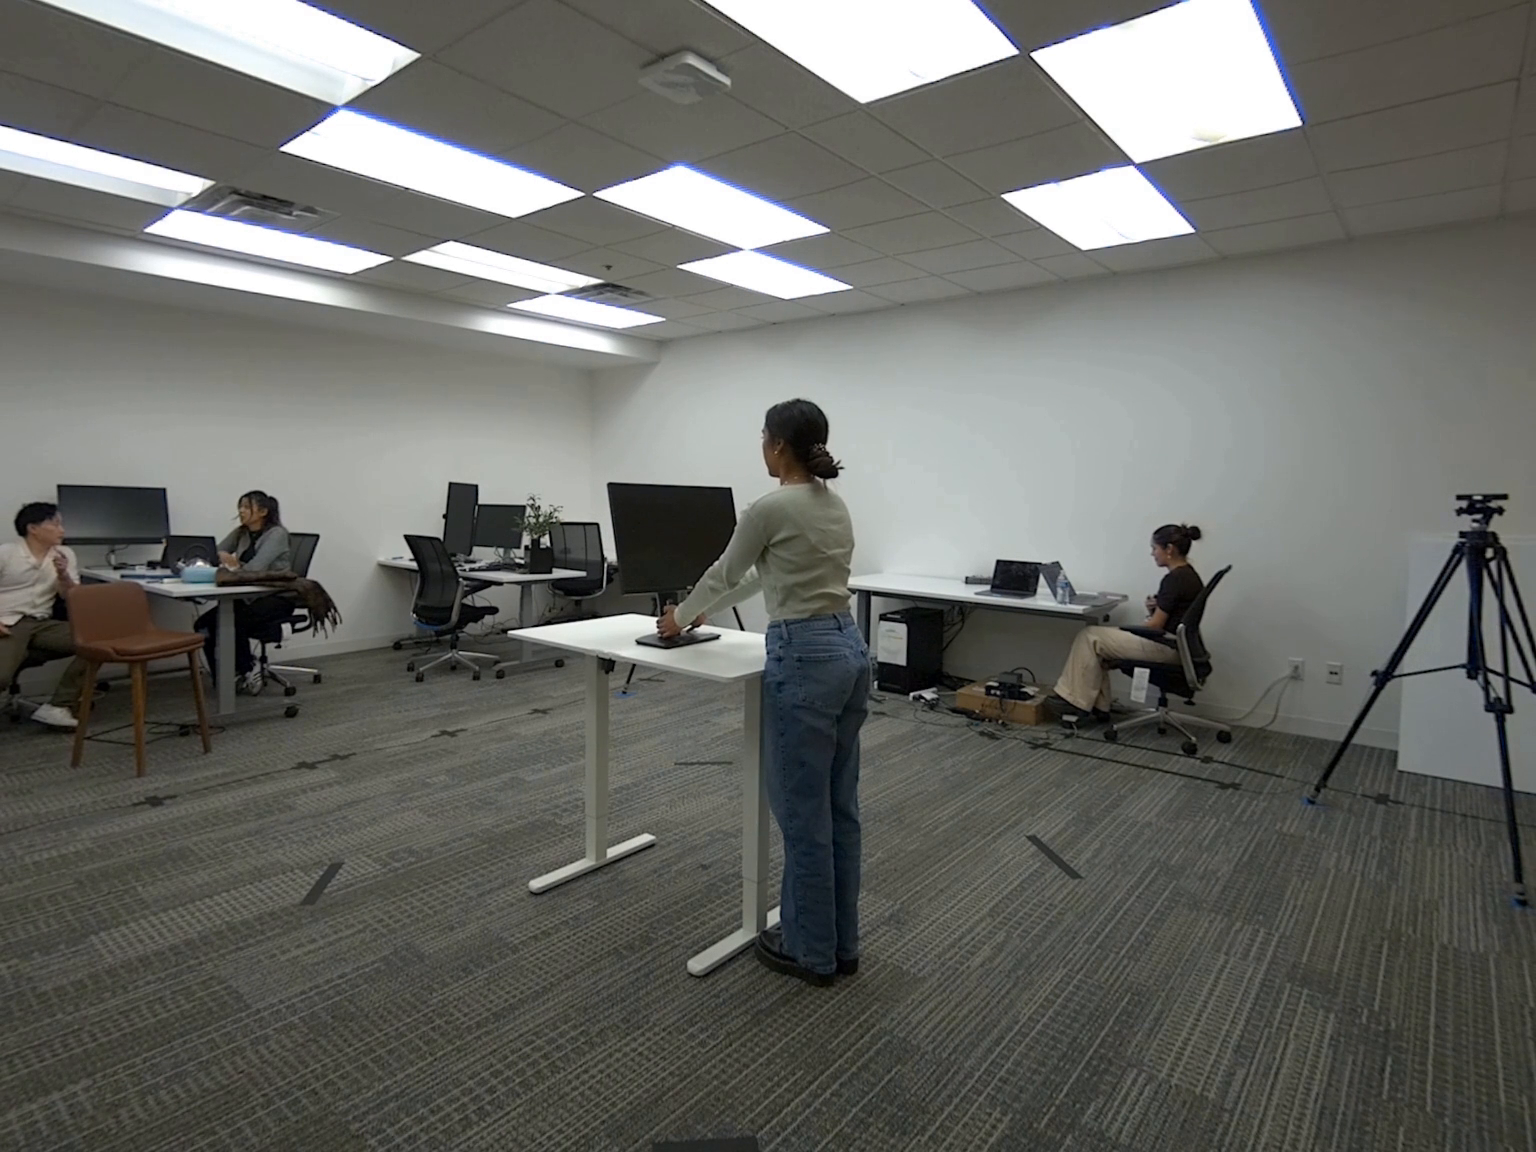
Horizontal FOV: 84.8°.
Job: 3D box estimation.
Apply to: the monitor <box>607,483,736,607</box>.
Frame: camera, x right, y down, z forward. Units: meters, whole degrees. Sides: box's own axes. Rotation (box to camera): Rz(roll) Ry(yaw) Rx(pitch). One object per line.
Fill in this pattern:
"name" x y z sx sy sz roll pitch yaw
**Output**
"monitor" -0.320 -0.042 2.814 0.193 0.521 0.523 2 4 42
